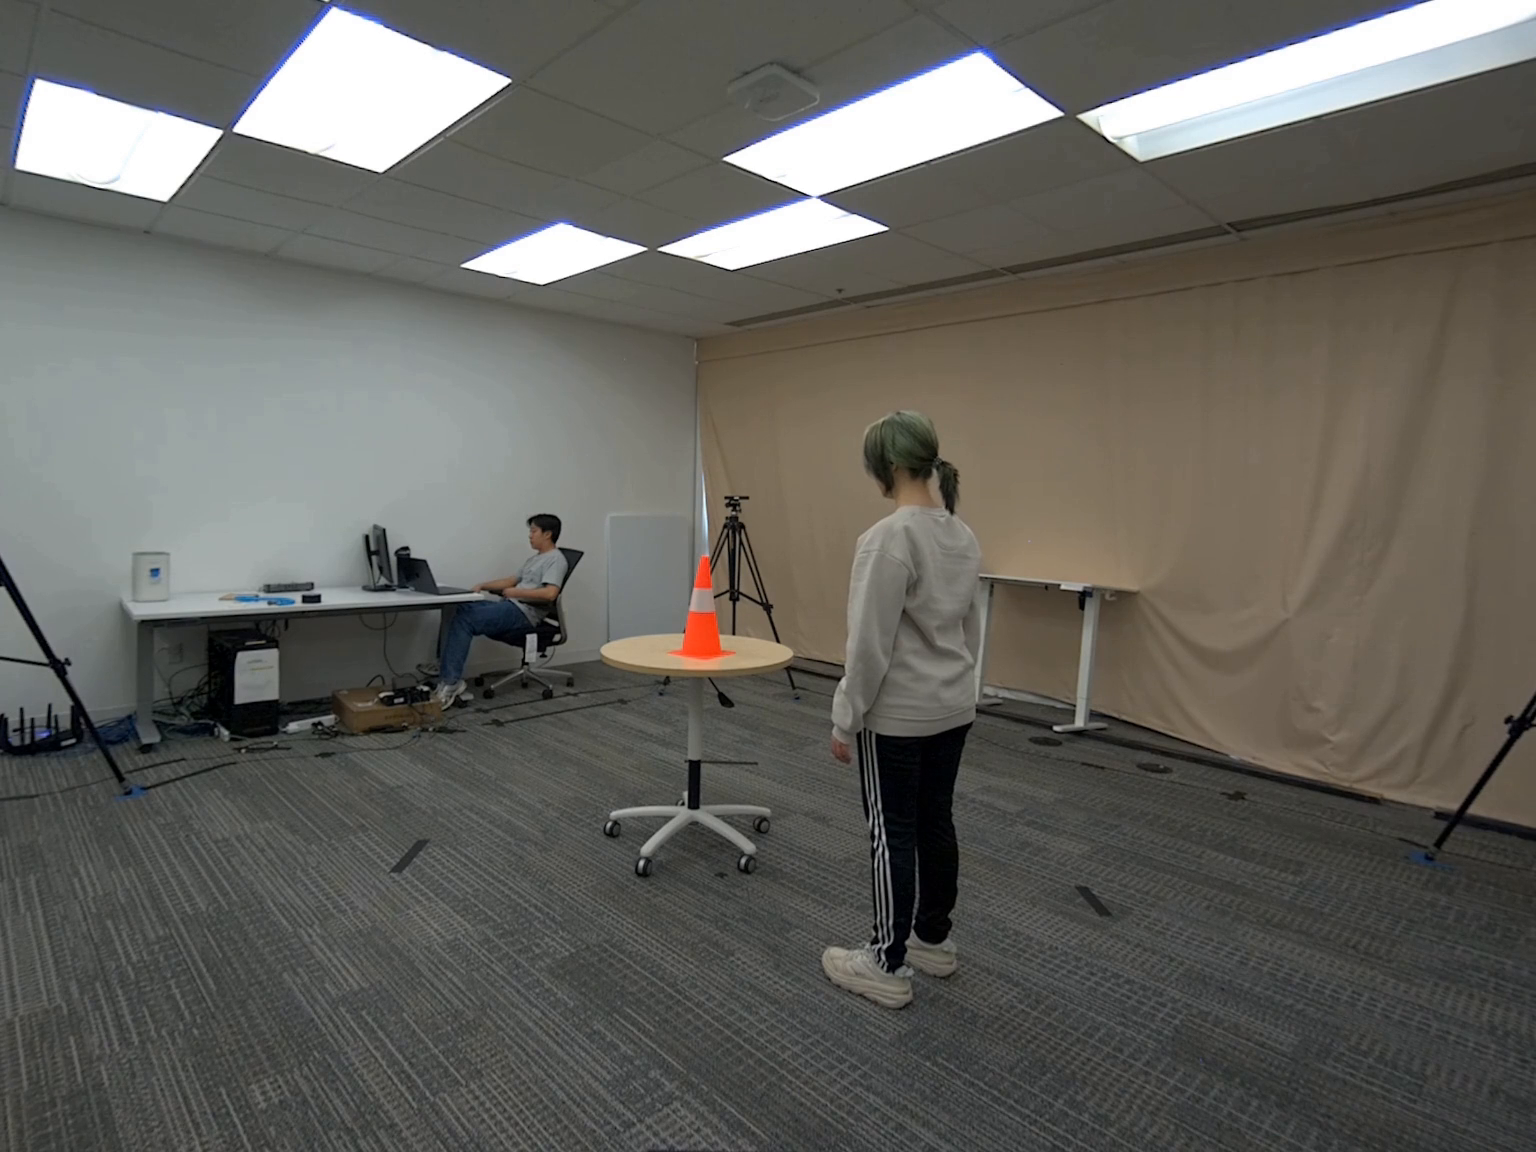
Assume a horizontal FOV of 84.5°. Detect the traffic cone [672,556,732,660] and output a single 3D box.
[{"bbox_3d":[-0.260,0.116,3.275,0.208,0.383,0.200,4,3,37],"label":"traffic cone"}]
